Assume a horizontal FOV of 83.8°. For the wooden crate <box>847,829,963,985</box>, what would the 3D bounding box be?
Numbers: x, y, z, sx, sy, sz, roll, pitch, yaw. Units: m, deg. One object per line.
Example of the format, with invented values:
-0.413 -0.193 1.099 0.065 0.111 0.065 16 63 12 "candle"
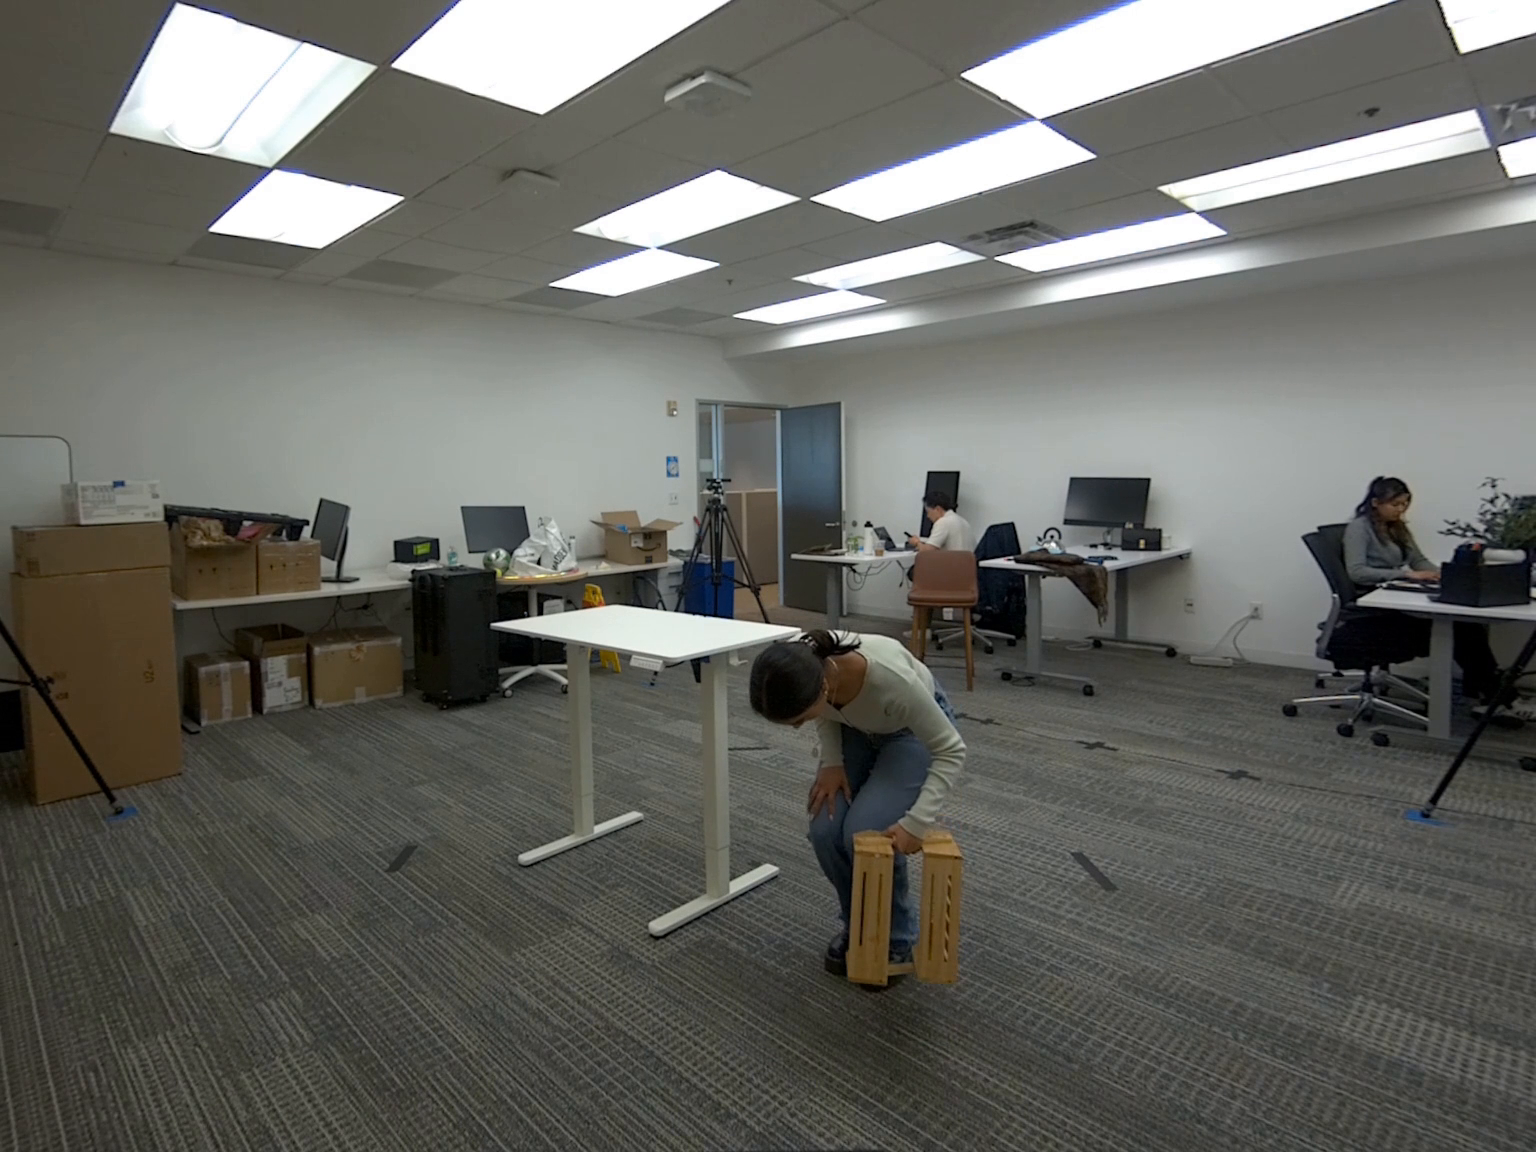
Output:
0.351 0.834 2.148 0.275 0.325 0.299 5 -3 5 "wooden crate"
